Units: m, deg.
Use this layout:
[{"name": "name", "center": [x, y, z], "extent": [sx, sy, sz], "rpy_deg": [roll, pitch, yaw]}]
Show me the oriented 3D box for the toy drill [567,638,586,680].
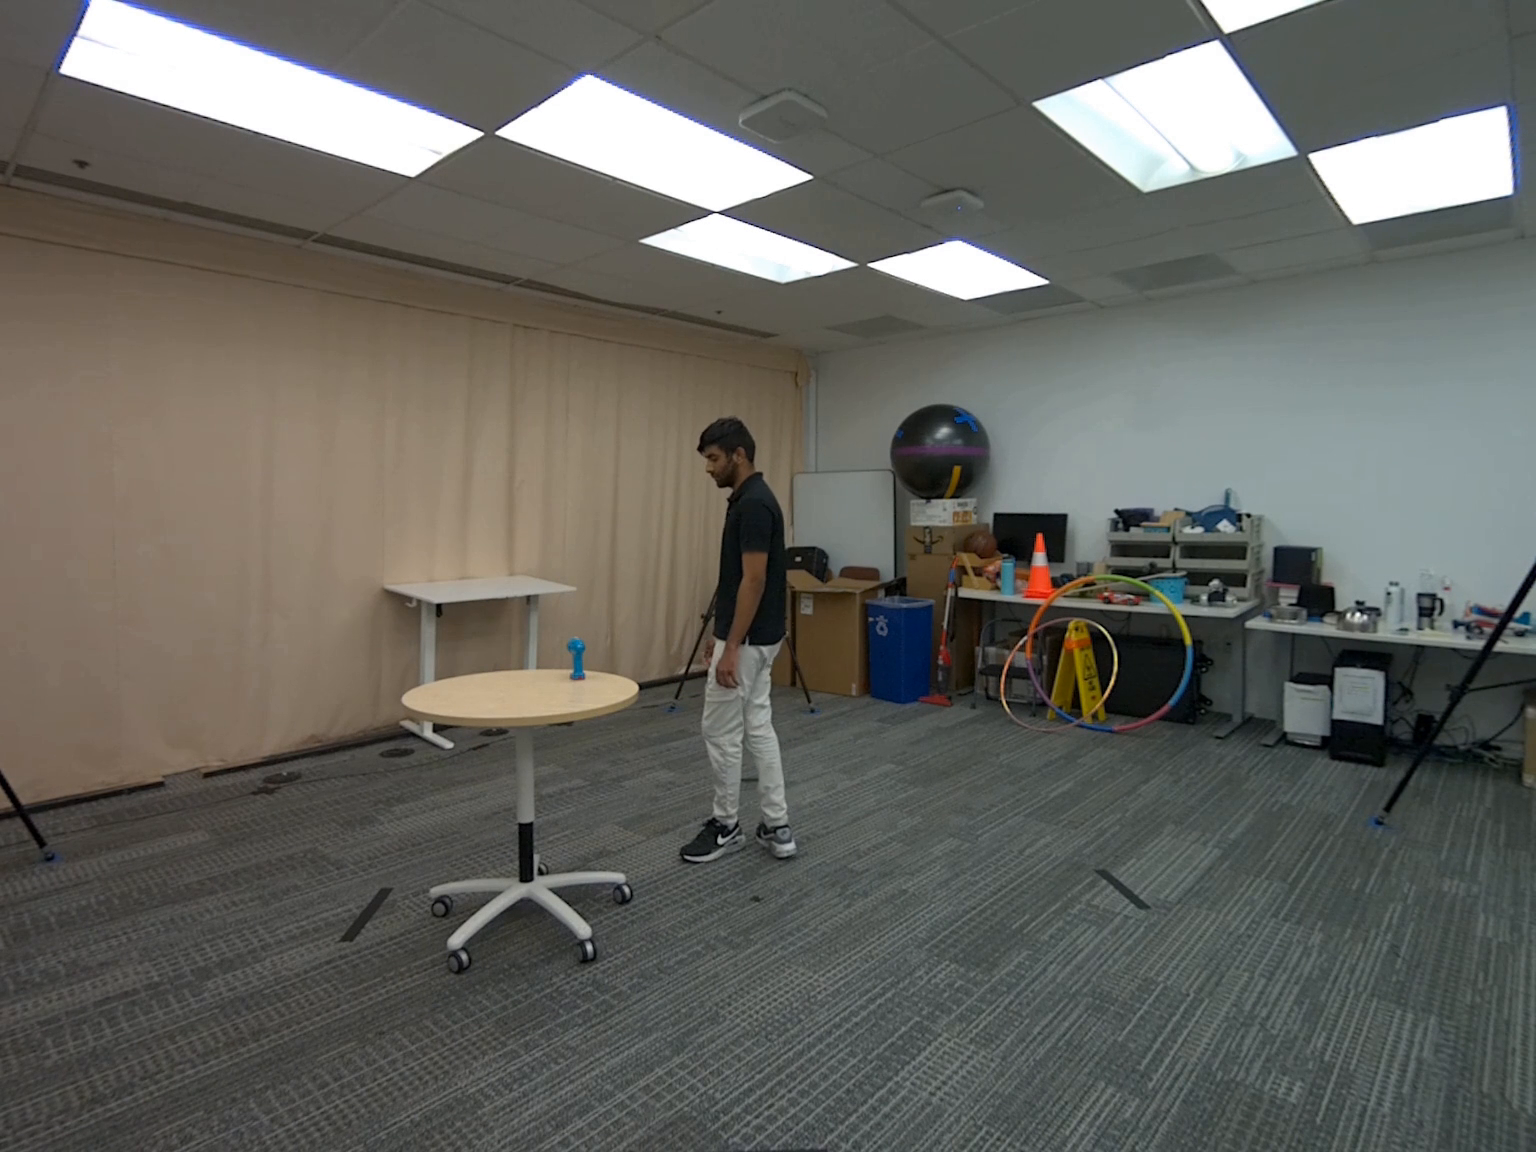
[{"name": "toy drill", "center": [-0.698, 0.291, 3.042], "extent": [0.060, 0.145, 0.174], "rpy_deg": [-4, 5, -26]}]
